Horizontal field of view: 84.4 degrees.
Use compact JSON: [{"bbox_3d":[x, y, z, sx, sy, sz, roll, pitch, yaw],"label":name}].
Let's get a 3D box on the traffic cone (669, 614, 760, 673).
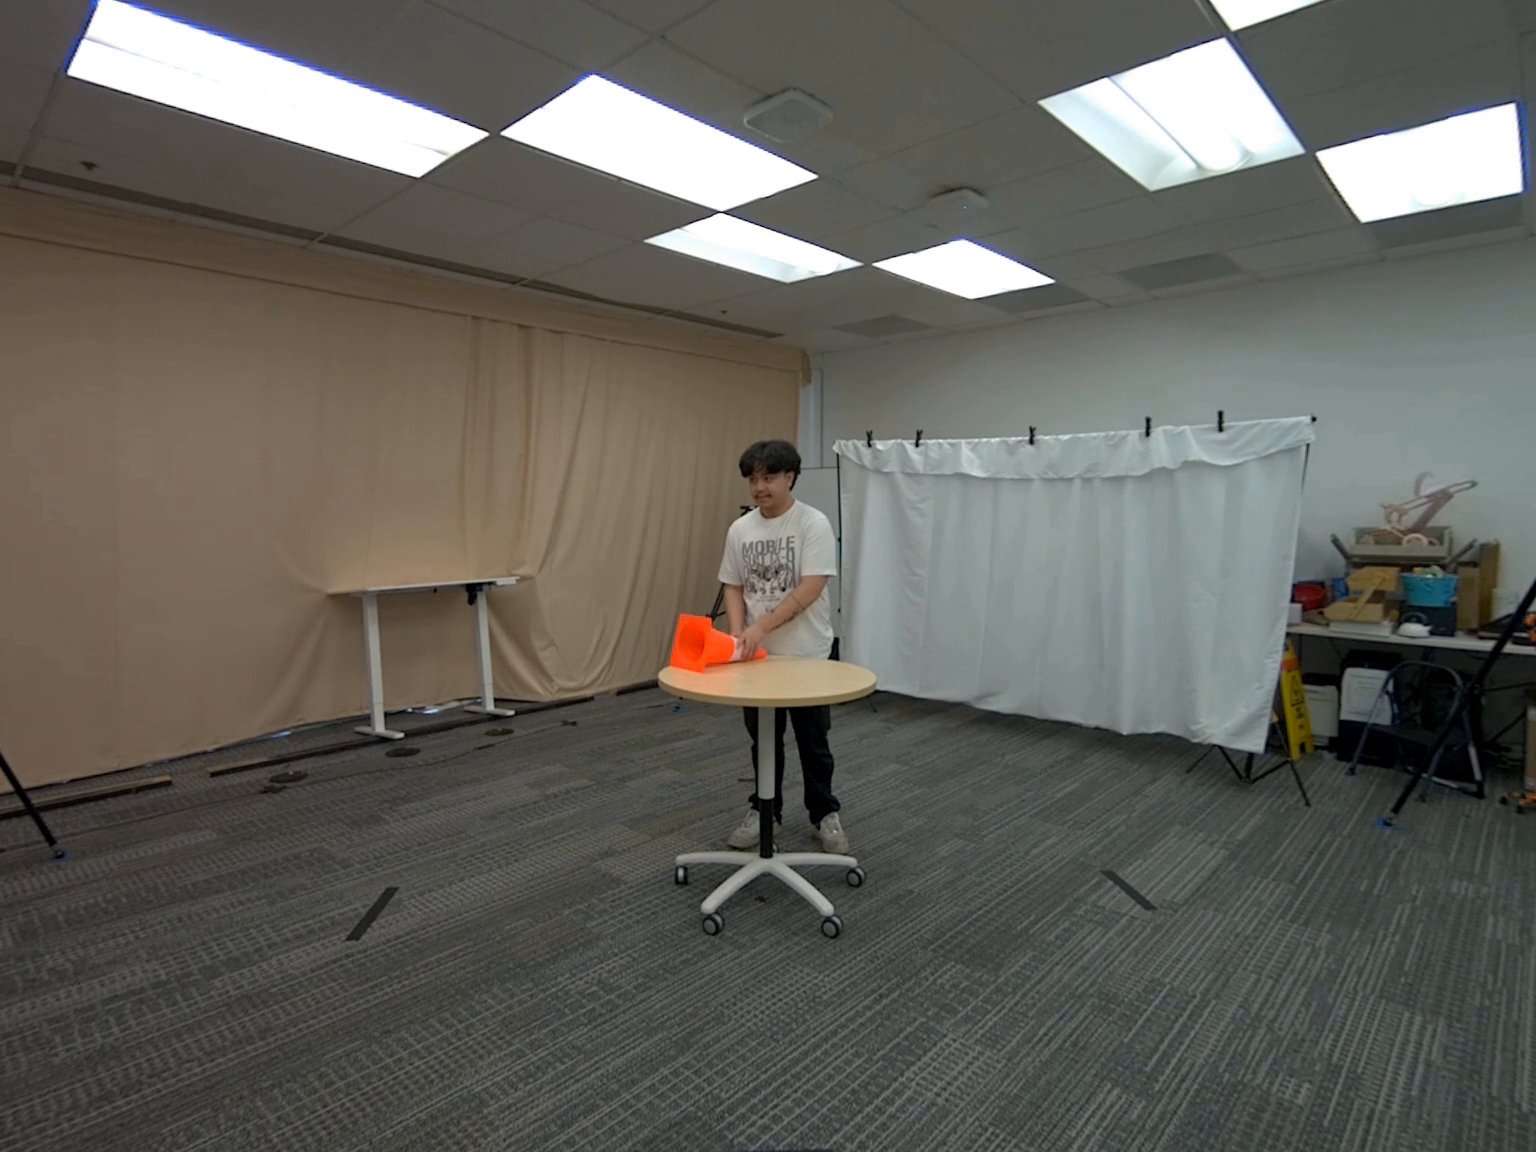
[{"bbox_3d":[-0.146,0.279,3.174,0.370,0.205,0.210,15,-8,-40],"label":"traffic cone"}]
